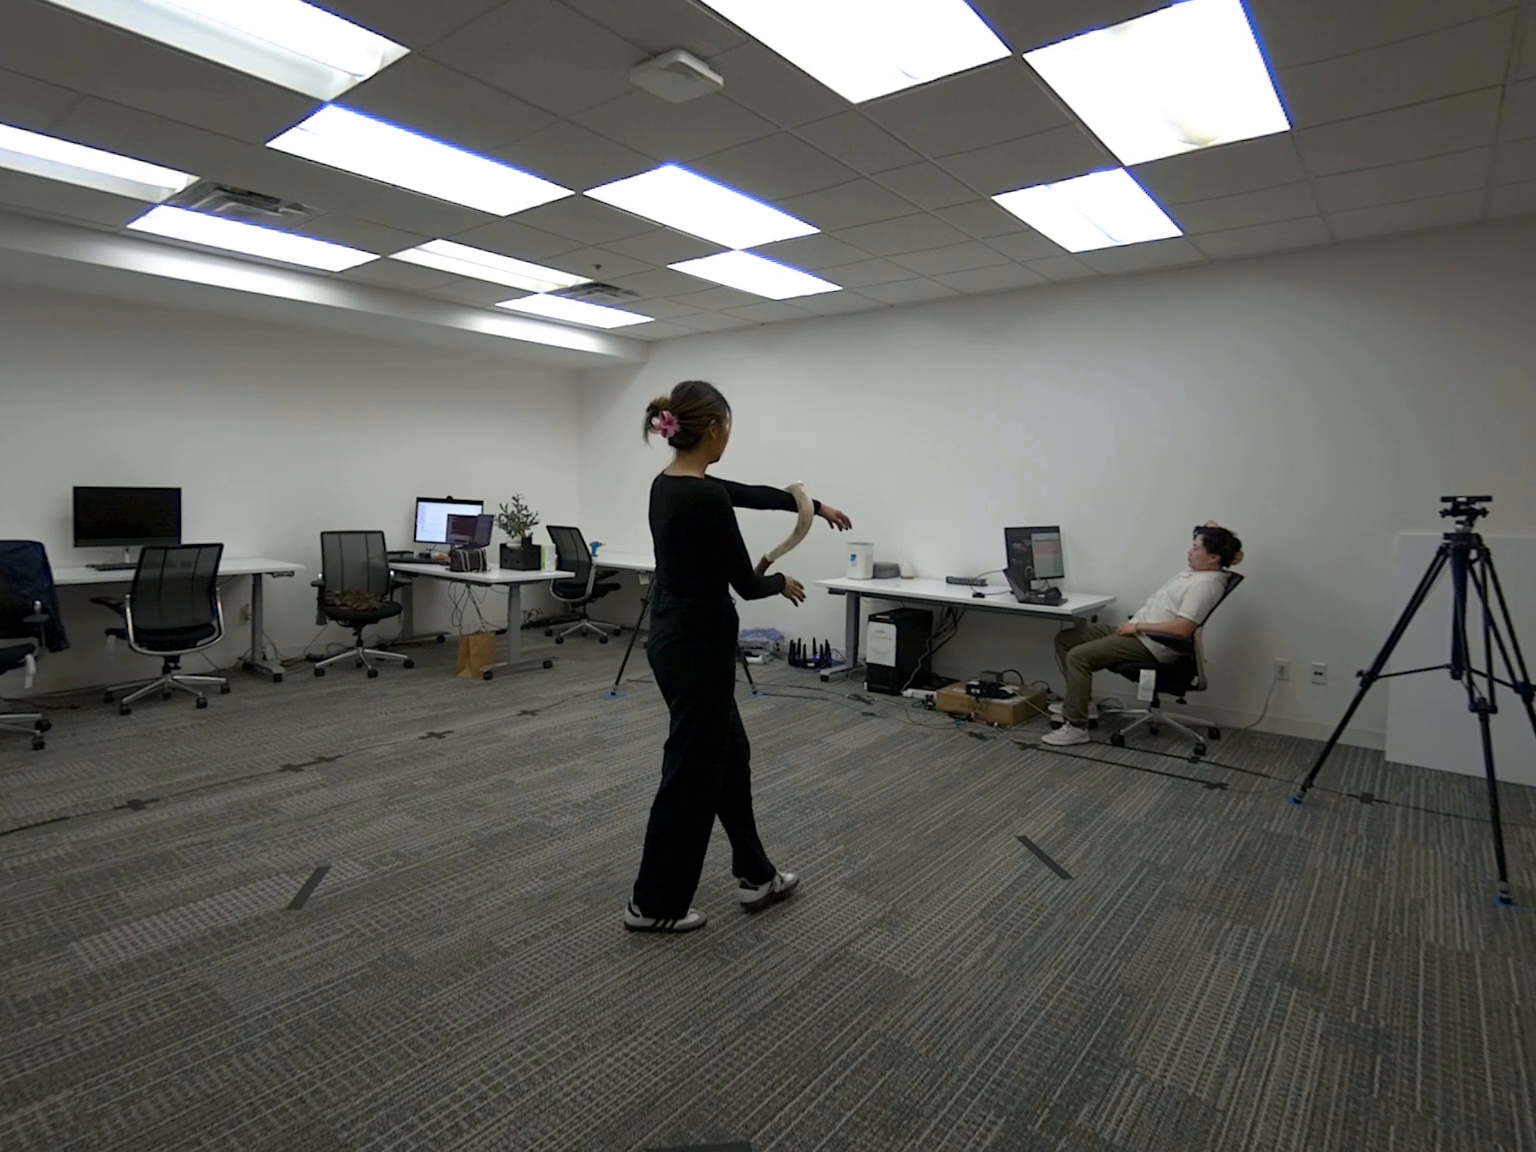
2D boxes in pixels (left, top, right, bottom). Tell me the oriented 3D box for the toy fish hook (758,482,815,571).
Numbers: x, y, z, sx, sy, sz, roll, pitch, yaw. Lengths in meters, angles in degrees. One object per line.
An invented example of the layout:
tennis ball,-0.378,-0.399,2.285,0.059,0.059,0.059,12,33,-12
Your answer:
toy fish hook,0.028,-0.130,3.034,0.047,0.232,0.504,12,-44,-26
